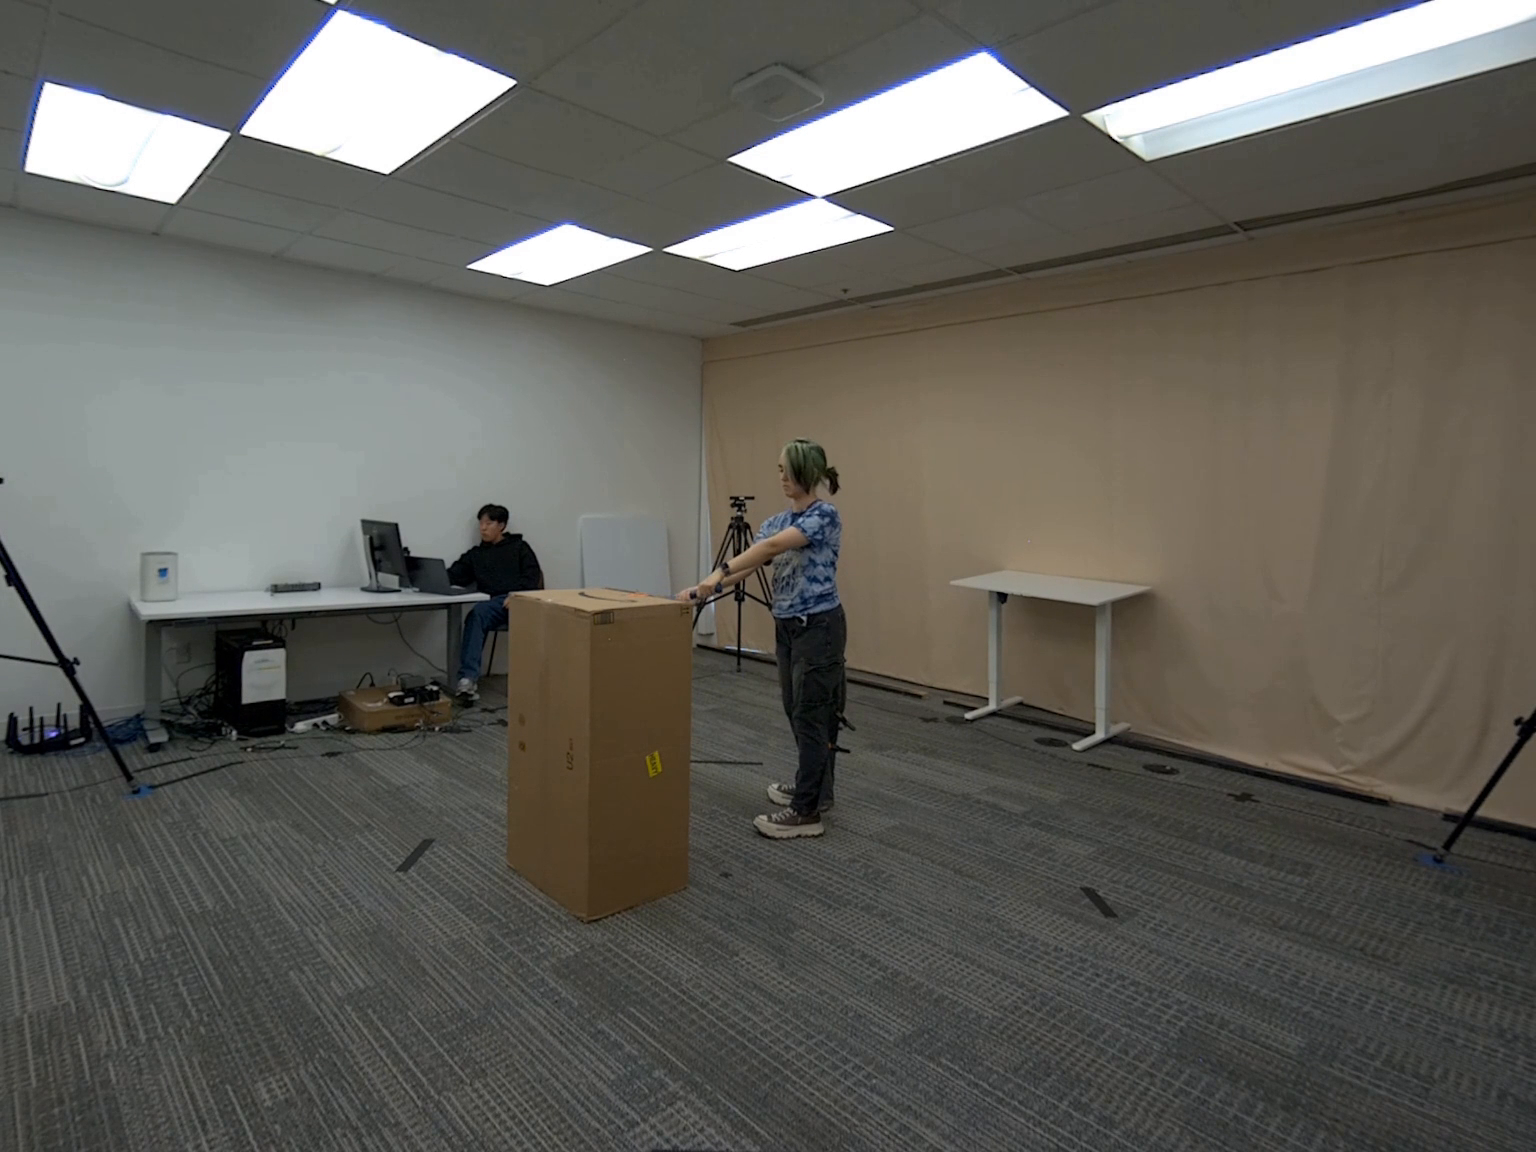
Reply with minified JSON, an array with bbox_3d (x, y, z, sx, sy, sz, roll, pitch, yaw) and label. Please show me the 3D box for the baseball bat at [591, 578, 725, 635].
[{"bbox_3d":[-0.449,0.117,3.414,0.548,0.089,0.088,-17,-1,18],"label":"baseball bat"}]
